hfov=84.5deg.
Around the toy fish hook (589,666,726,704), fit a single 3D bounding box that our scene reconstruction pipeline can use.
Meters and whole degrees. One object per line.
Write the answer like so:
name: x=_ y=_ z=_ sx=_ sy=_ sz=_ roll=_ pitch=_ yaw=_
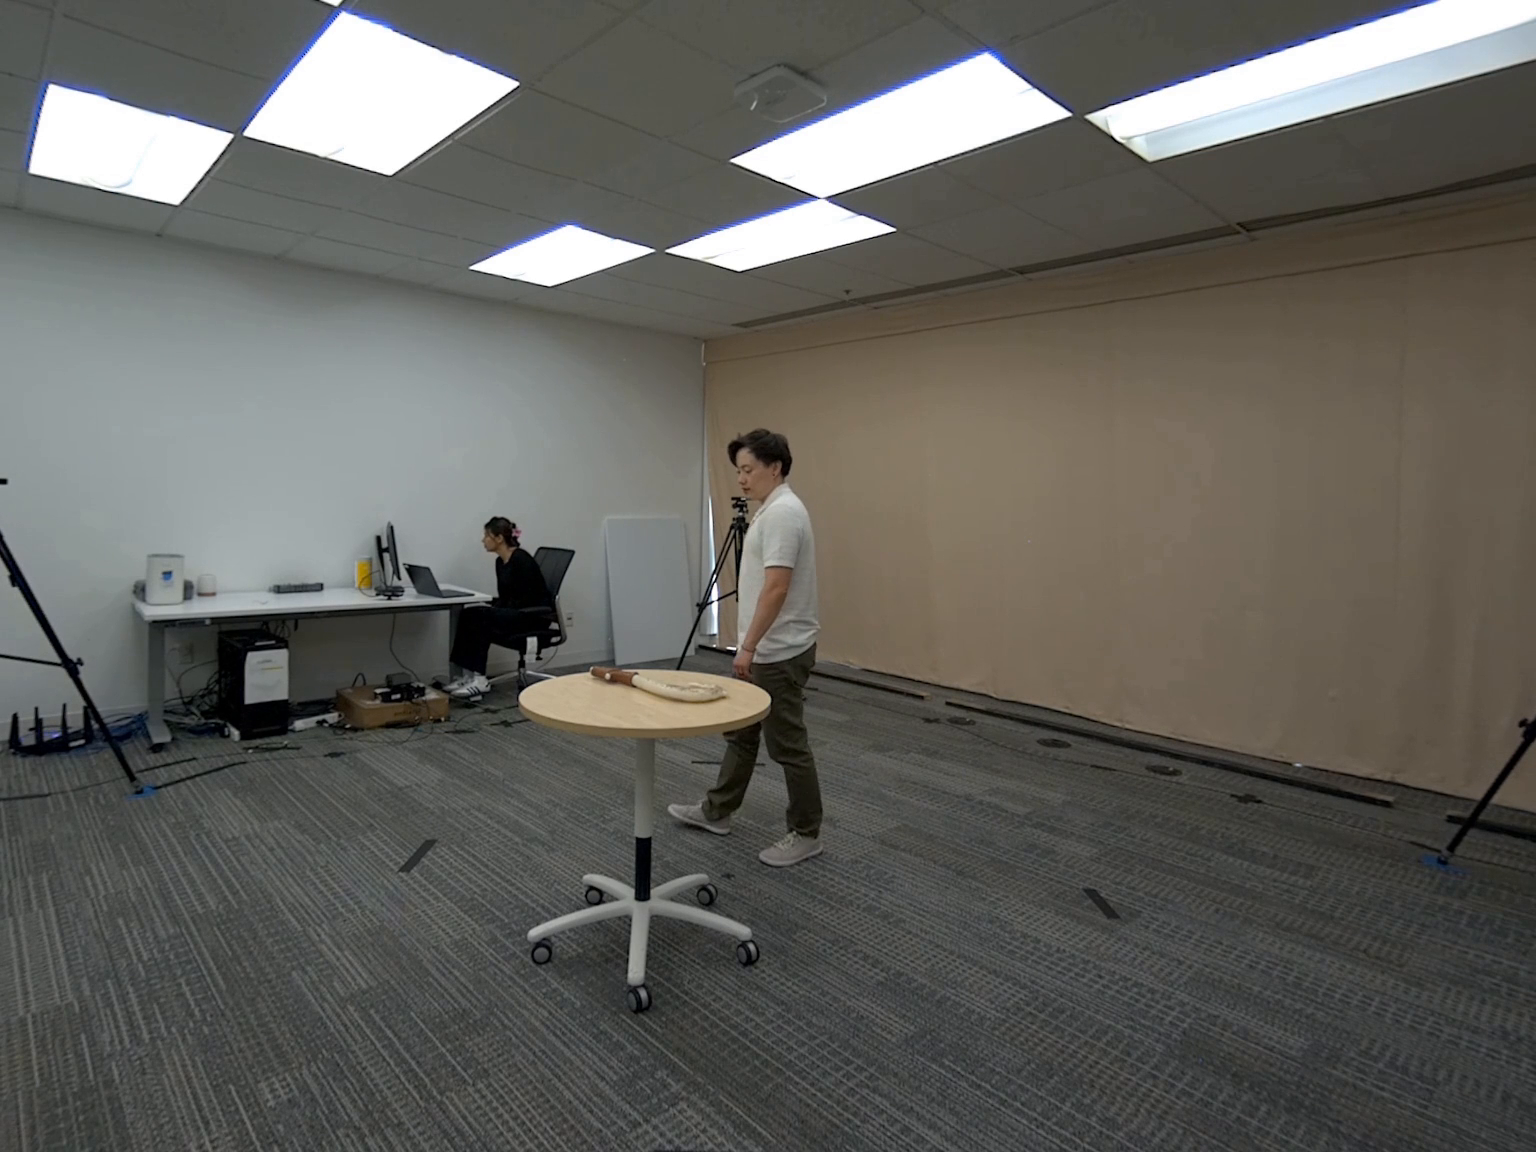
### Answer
toy fish hook: x=-0.365 y=0.347 z=2.689 sx=0.519 sy=0.048 sz=0.219 roll=6 pitch=-1 yaw=37
